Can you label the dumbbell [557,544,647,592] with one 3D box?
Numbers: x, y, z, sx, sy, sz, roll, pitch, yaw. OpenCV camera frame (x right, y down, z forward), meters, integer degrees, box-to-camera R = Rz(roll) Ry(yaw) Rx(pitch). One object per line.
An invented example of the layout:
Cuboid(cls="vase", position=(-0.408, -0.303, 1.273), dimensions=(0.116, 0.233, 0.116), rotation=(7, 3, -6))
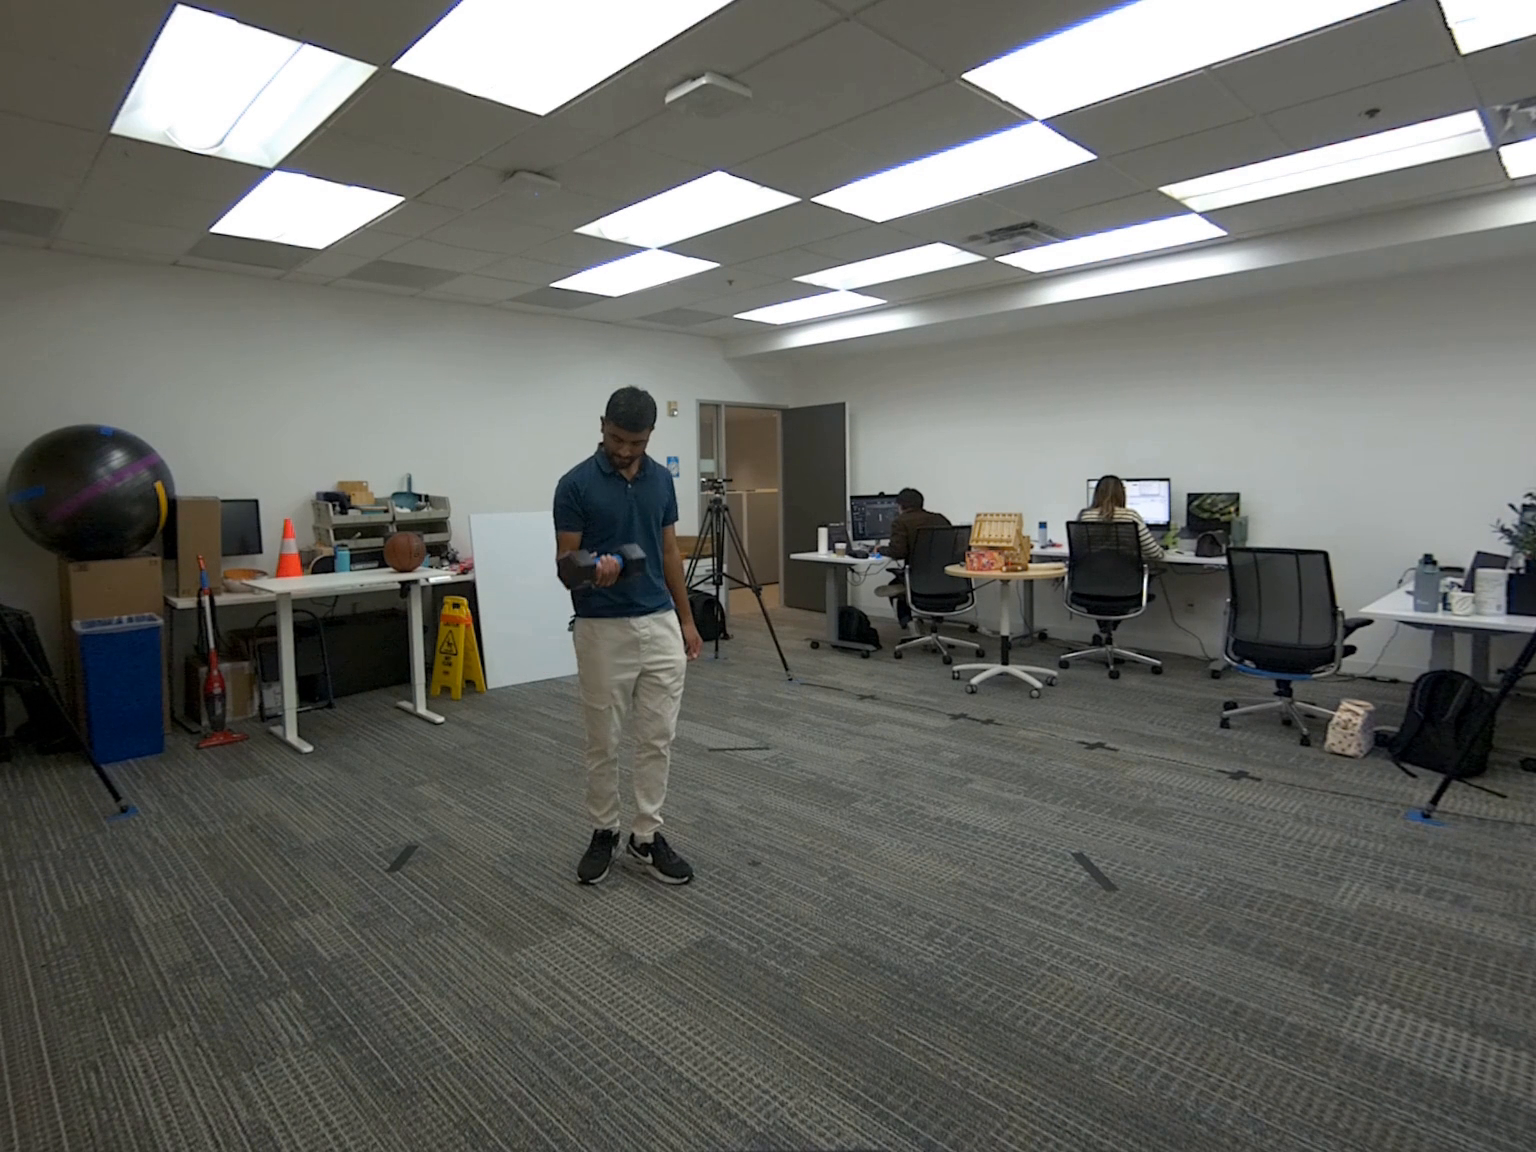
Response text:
Cuboid(cls="dumbbell", position=(-0.525, -0.027, 2.691), dimensions=(0.112, 0.122, 0.286), rotation=(16, 16, 35))
